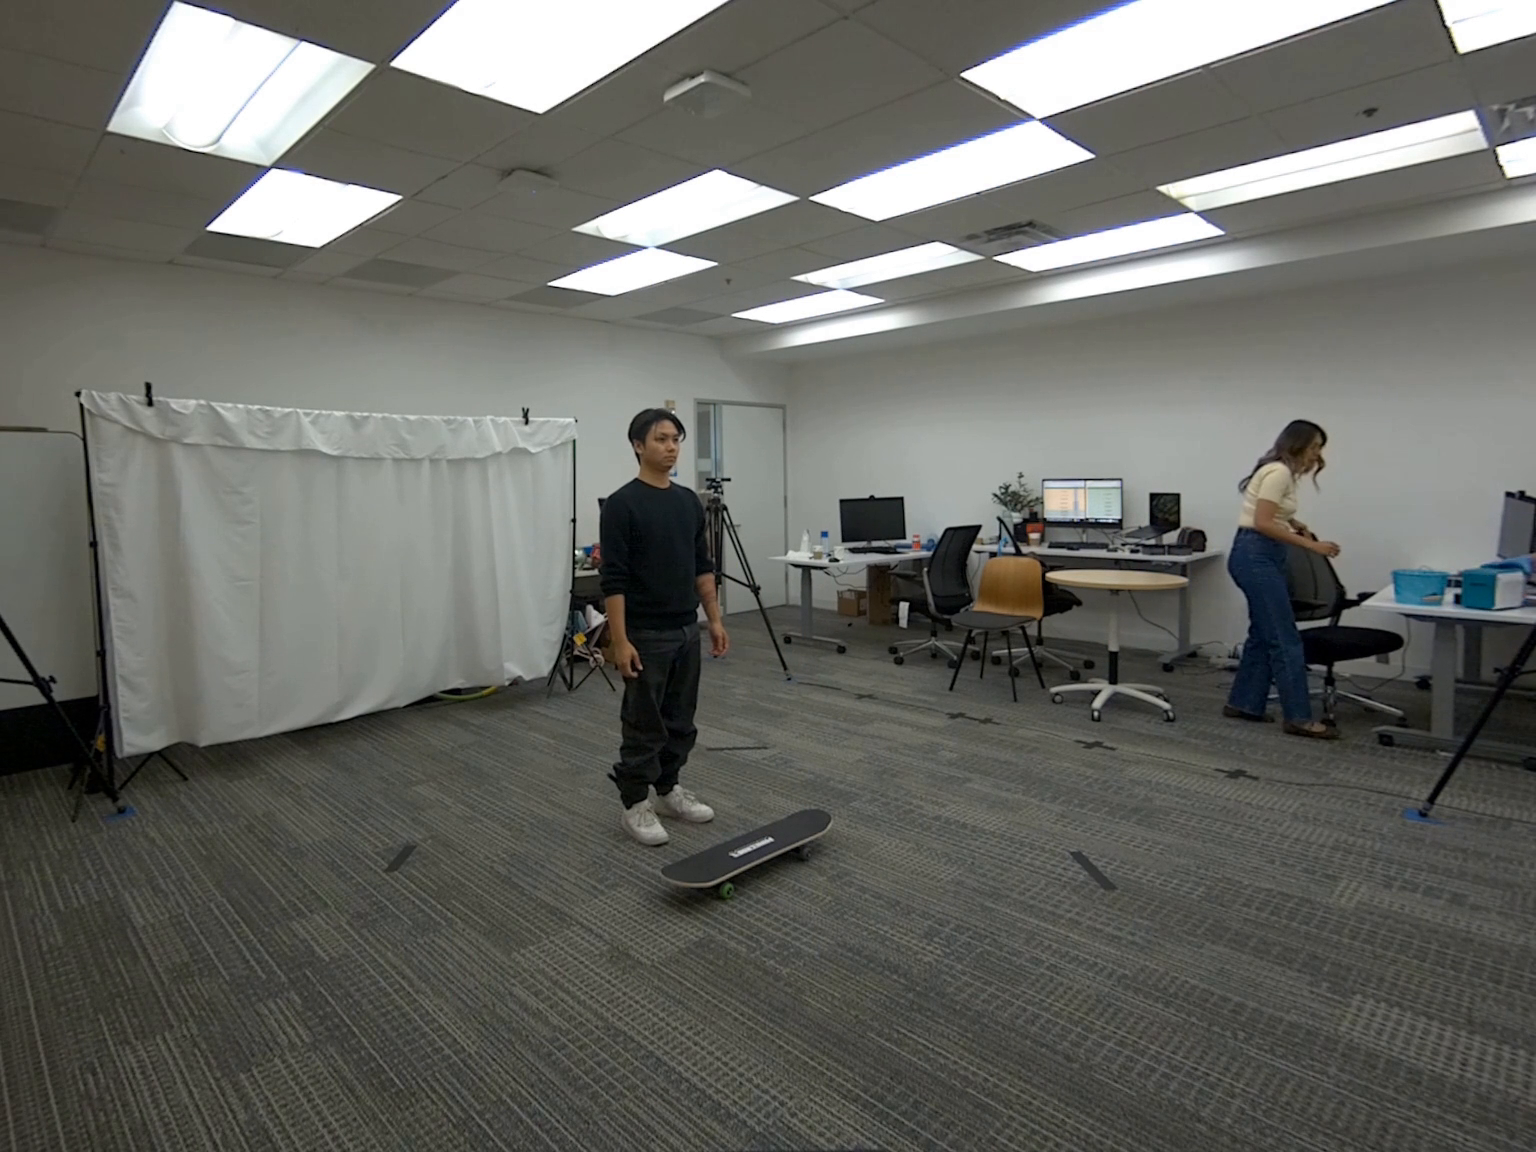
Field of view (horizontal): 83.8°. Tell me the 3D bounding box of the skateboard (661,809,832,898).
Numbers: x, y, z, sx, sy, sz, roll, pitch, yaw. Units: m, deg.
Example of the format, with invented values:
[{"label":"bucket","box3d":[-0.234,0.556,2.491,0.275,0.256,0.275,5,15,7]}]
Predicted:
[{"label":"skateboard","box3d":[-0.056,0.991,3.039,0.199,0.110,0.765,5,9,44]}]
